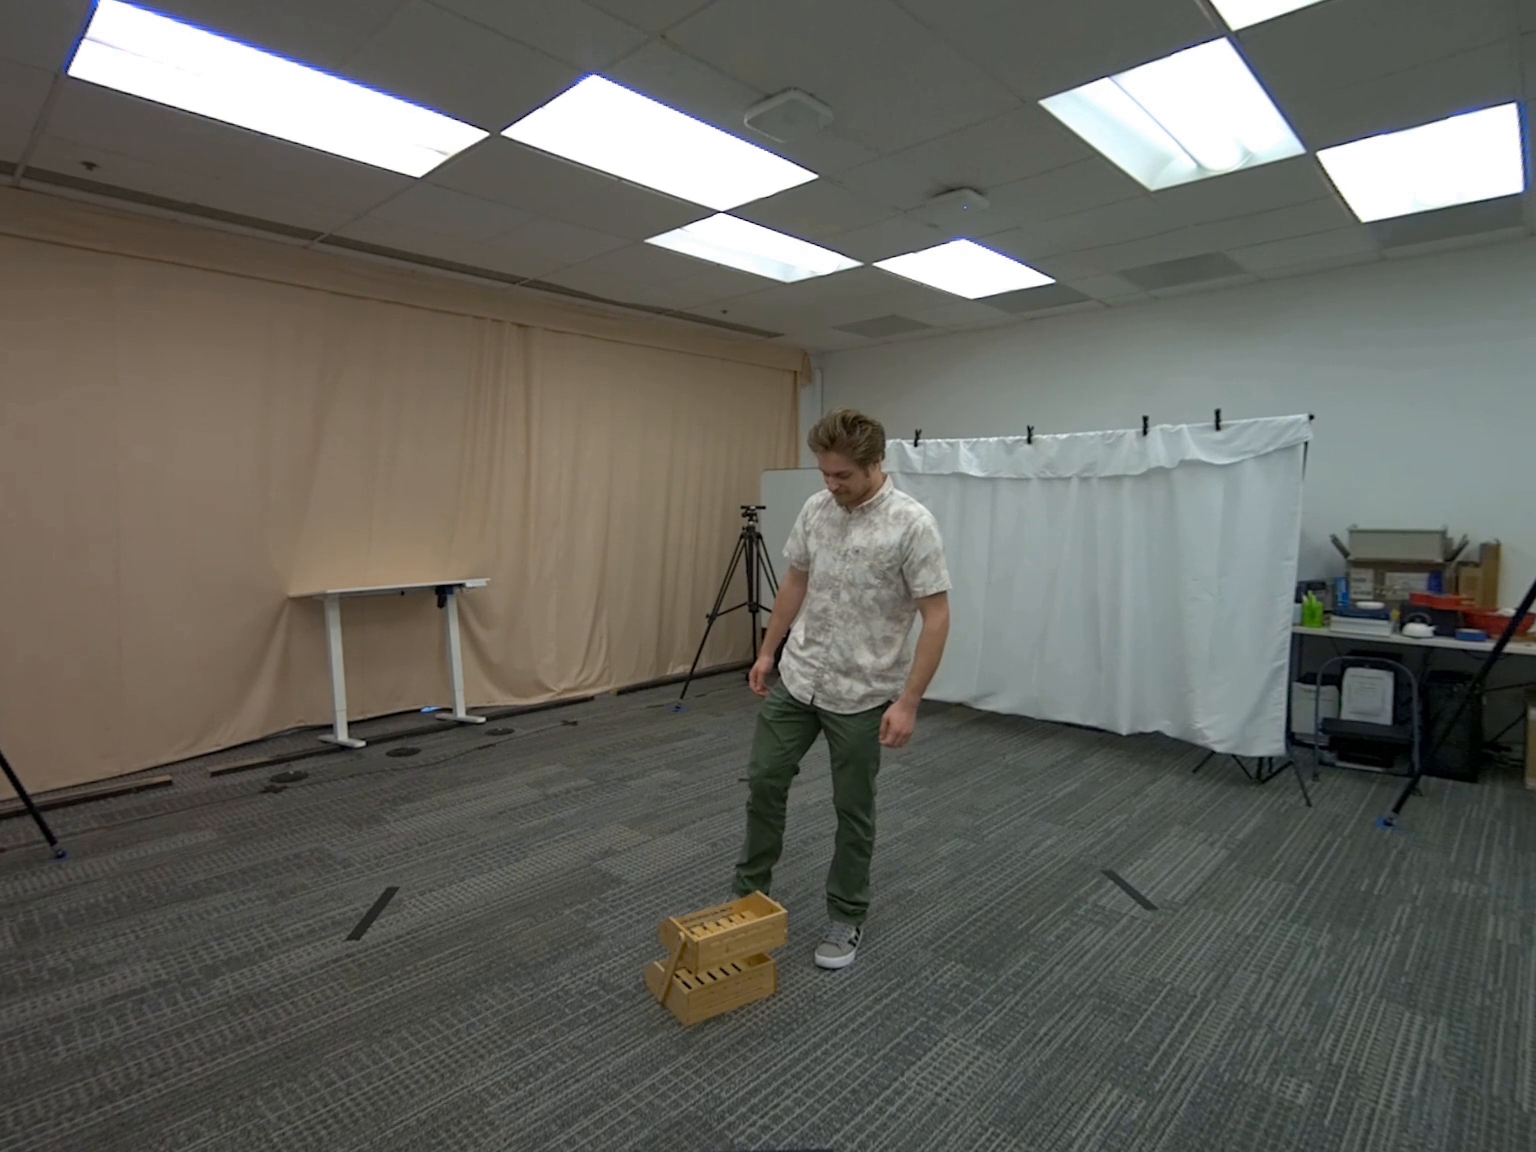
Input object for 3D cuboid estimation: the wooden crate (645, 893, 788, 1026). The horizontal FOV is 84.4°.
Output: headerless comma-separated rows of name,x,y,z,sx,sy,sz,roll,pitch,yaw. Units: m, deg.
wooden crate,-0.152,1.059,2.400,0.315,0.272,0.311,-3,5,-34
